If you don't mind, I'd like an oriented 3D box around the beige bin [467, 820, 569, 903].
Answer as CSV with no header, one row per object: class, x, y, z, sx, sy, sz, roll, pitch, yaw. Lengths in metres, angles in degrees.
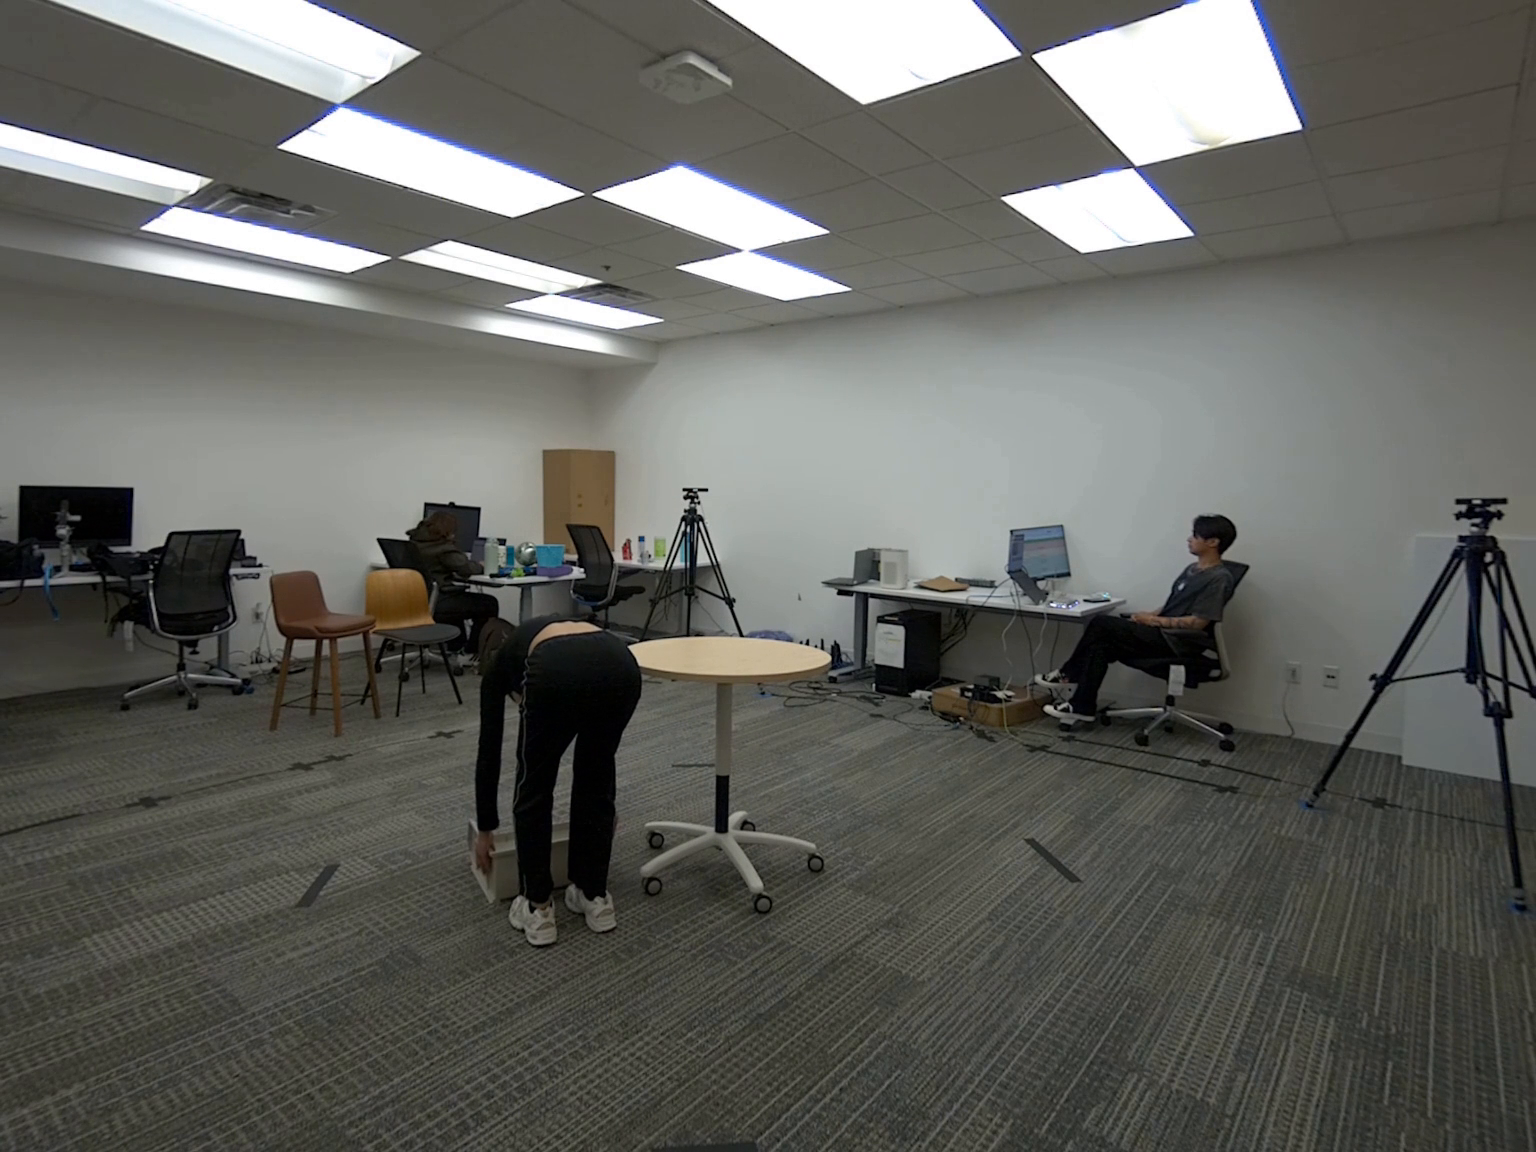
beige bin,-0.840,0.968,3.061,0.411,0.188,0.389,-1,6,-31
